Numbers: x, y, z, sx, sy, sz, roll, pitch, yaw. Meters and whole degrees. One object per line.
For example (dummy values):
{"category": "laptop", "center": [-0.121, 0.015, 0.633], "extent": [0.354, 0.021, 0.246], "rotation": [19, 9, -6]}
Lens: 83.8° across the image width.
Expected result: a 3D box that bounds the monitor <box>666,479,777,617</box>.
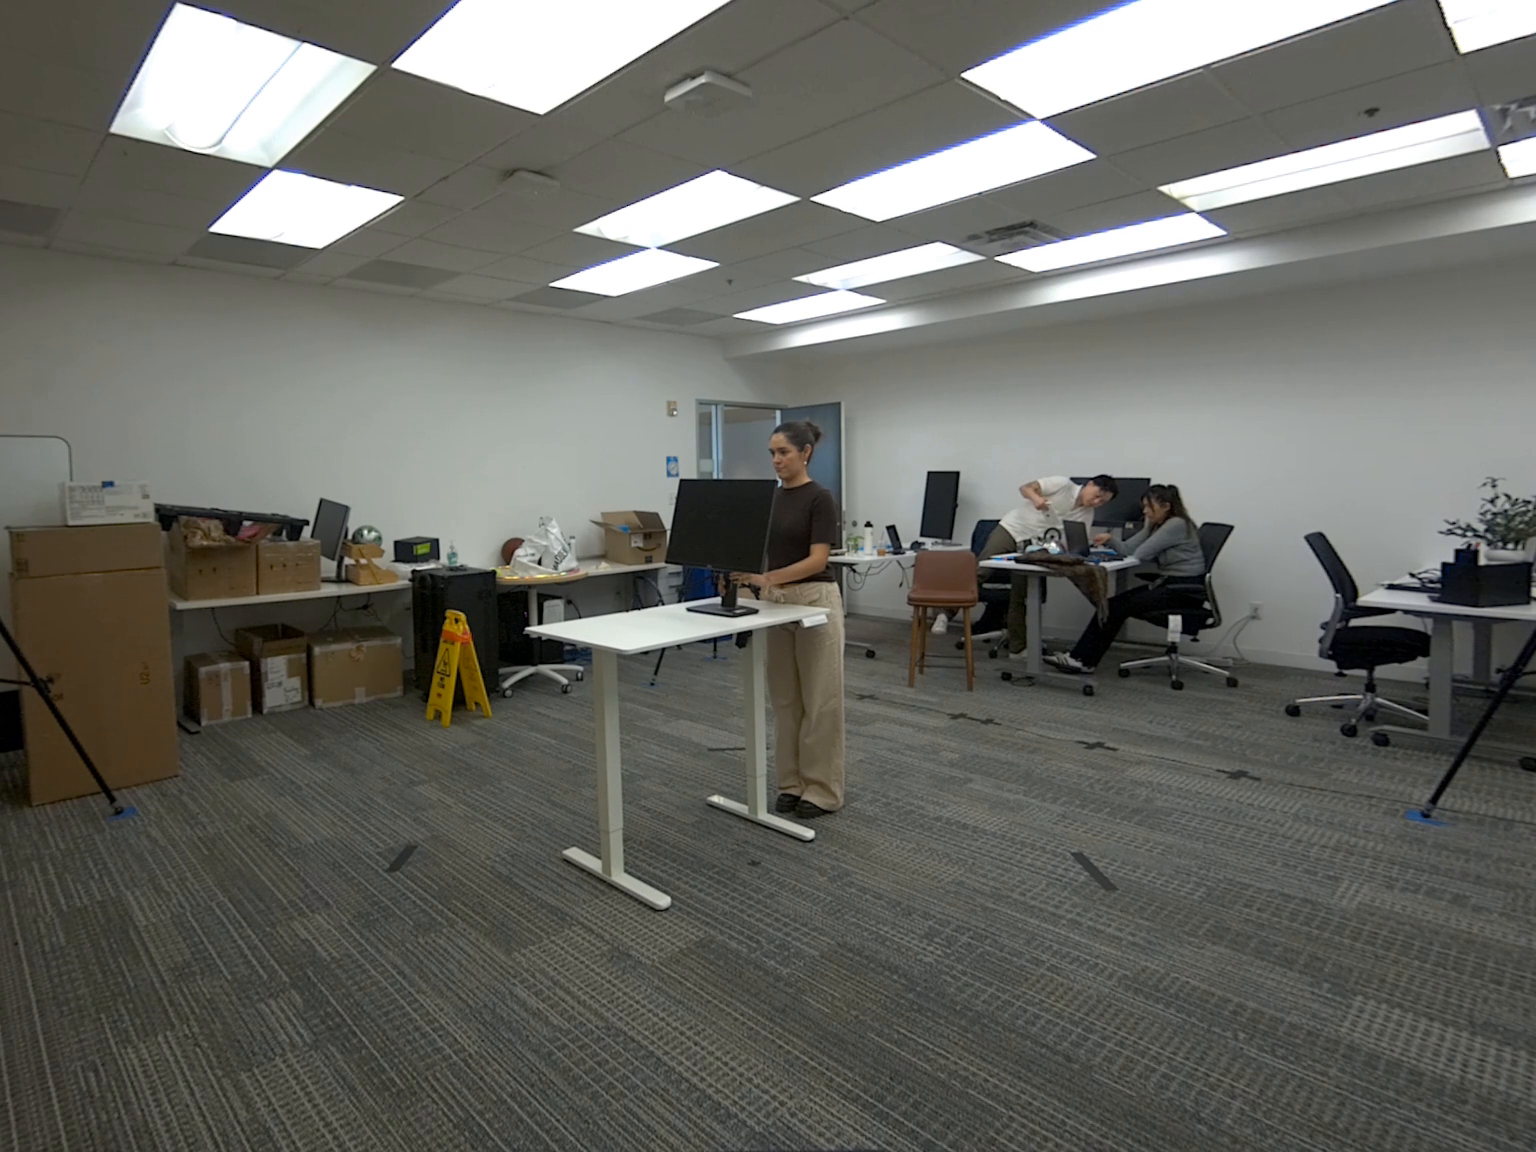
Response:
{"category": "monitor", "center": [-0.179, -0.117, 3.299], "extent": [0.547, 0.512, 0.170], "rotation": [6, 11, 44]}
